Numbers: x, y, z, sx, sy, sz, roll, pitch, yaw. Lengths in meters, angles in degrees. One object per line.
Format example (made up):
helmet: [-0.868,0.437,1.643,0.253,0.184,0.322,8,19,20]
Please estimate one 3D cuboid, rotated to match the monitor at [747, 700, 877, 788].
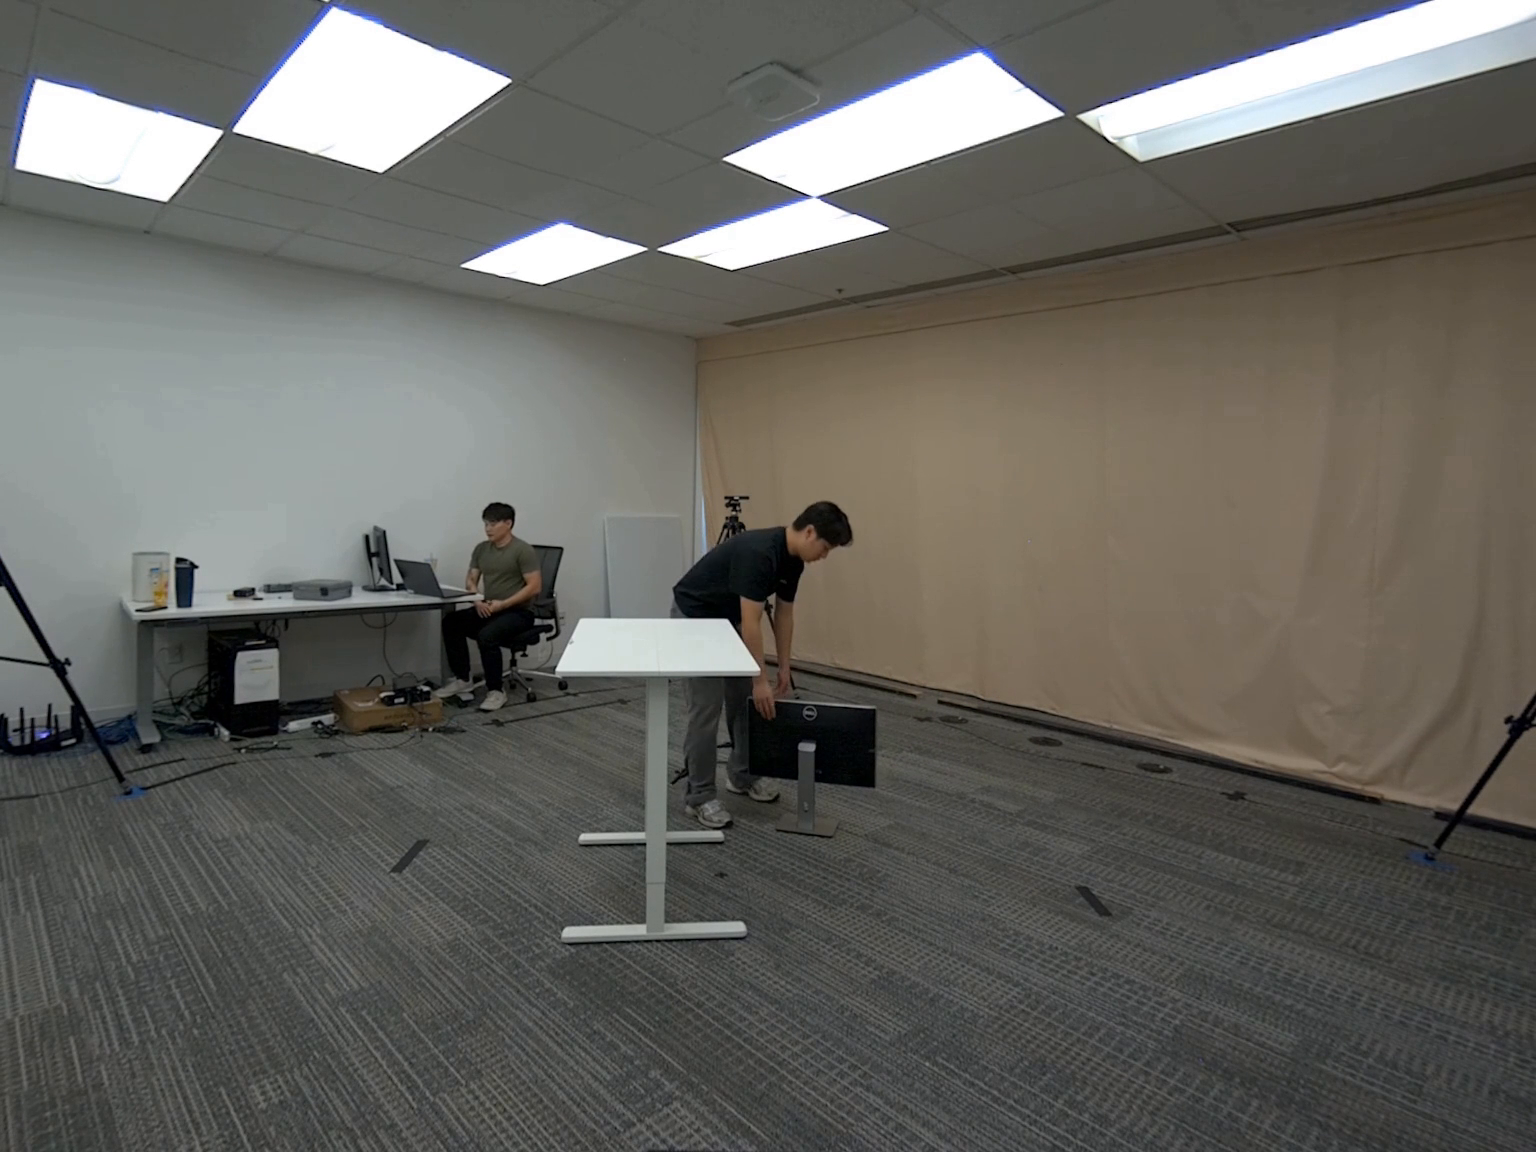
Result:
monitor: [0.167,0.811,3.590,0.569,0.566,0.219,3,-1,17]
